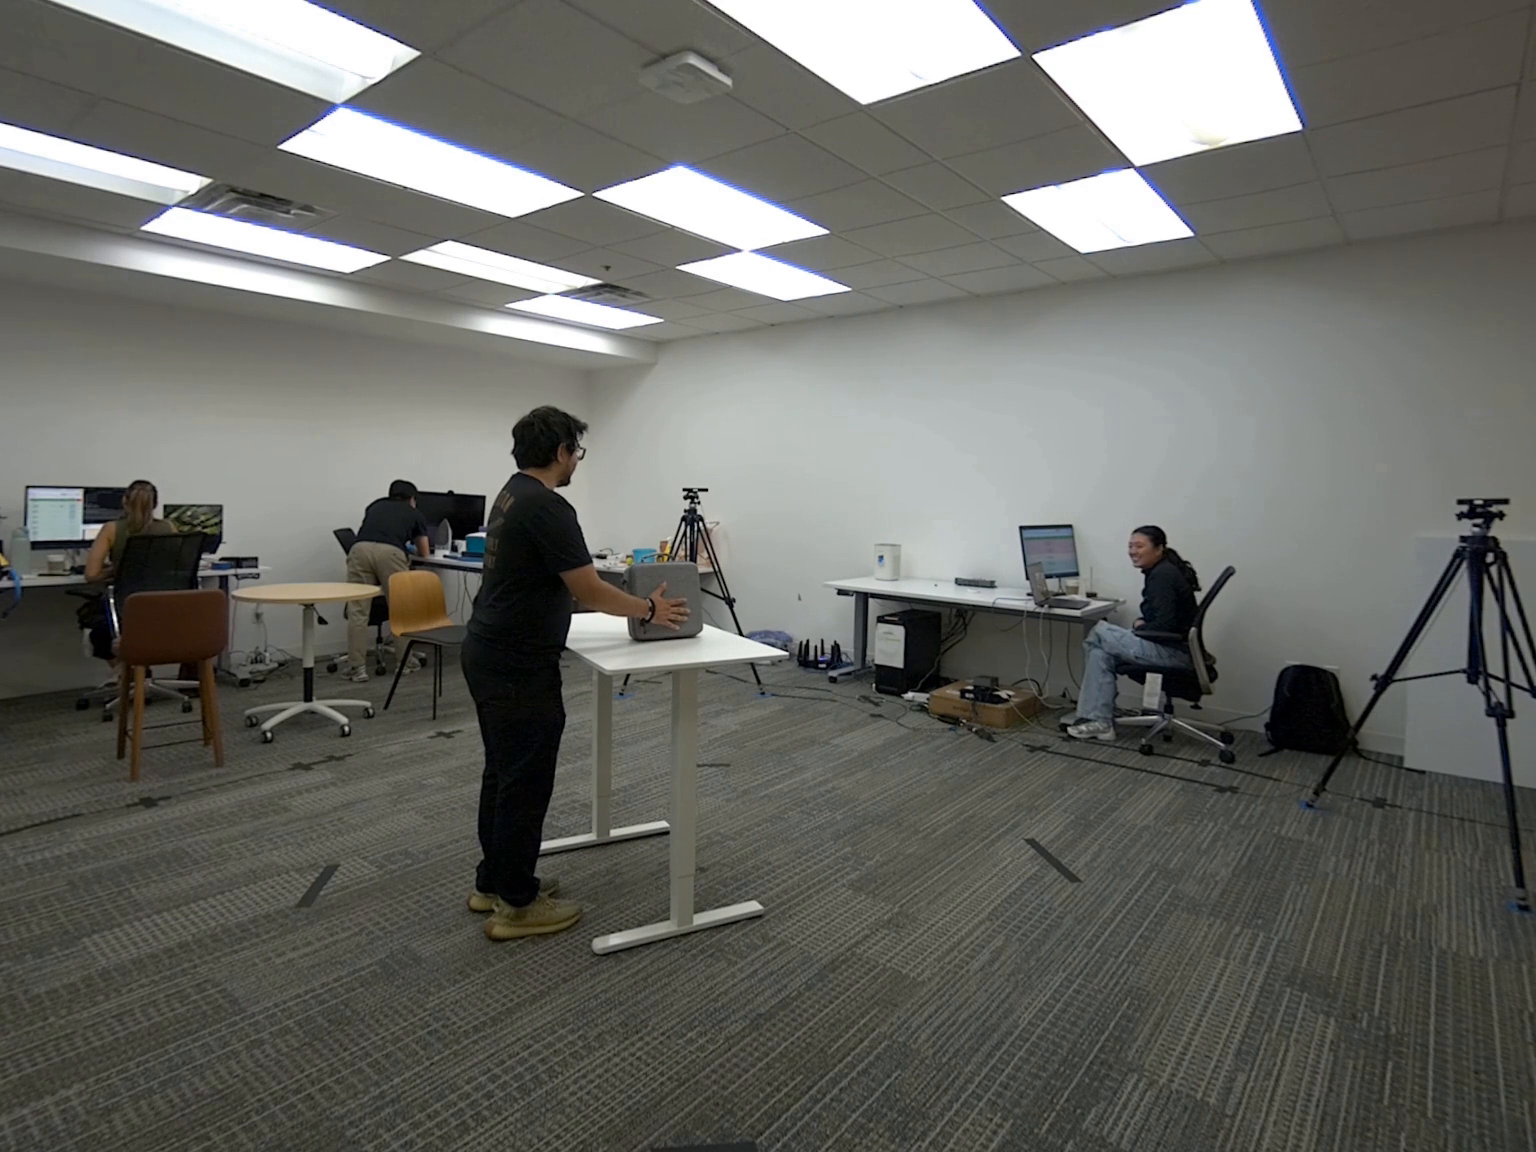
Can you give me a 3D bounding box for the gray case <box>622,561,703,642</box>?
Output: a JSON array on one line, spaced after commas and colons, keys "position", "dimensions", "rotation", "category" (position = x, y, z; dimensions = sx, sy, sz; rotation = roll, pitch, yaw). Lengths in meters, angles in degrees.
[{"position": [-0.365, 0.079, 2.882], "dimensions": [0.250, 0.263, 0.106], "rotation": [-2, -8, -27], "category": "gray case"}]
